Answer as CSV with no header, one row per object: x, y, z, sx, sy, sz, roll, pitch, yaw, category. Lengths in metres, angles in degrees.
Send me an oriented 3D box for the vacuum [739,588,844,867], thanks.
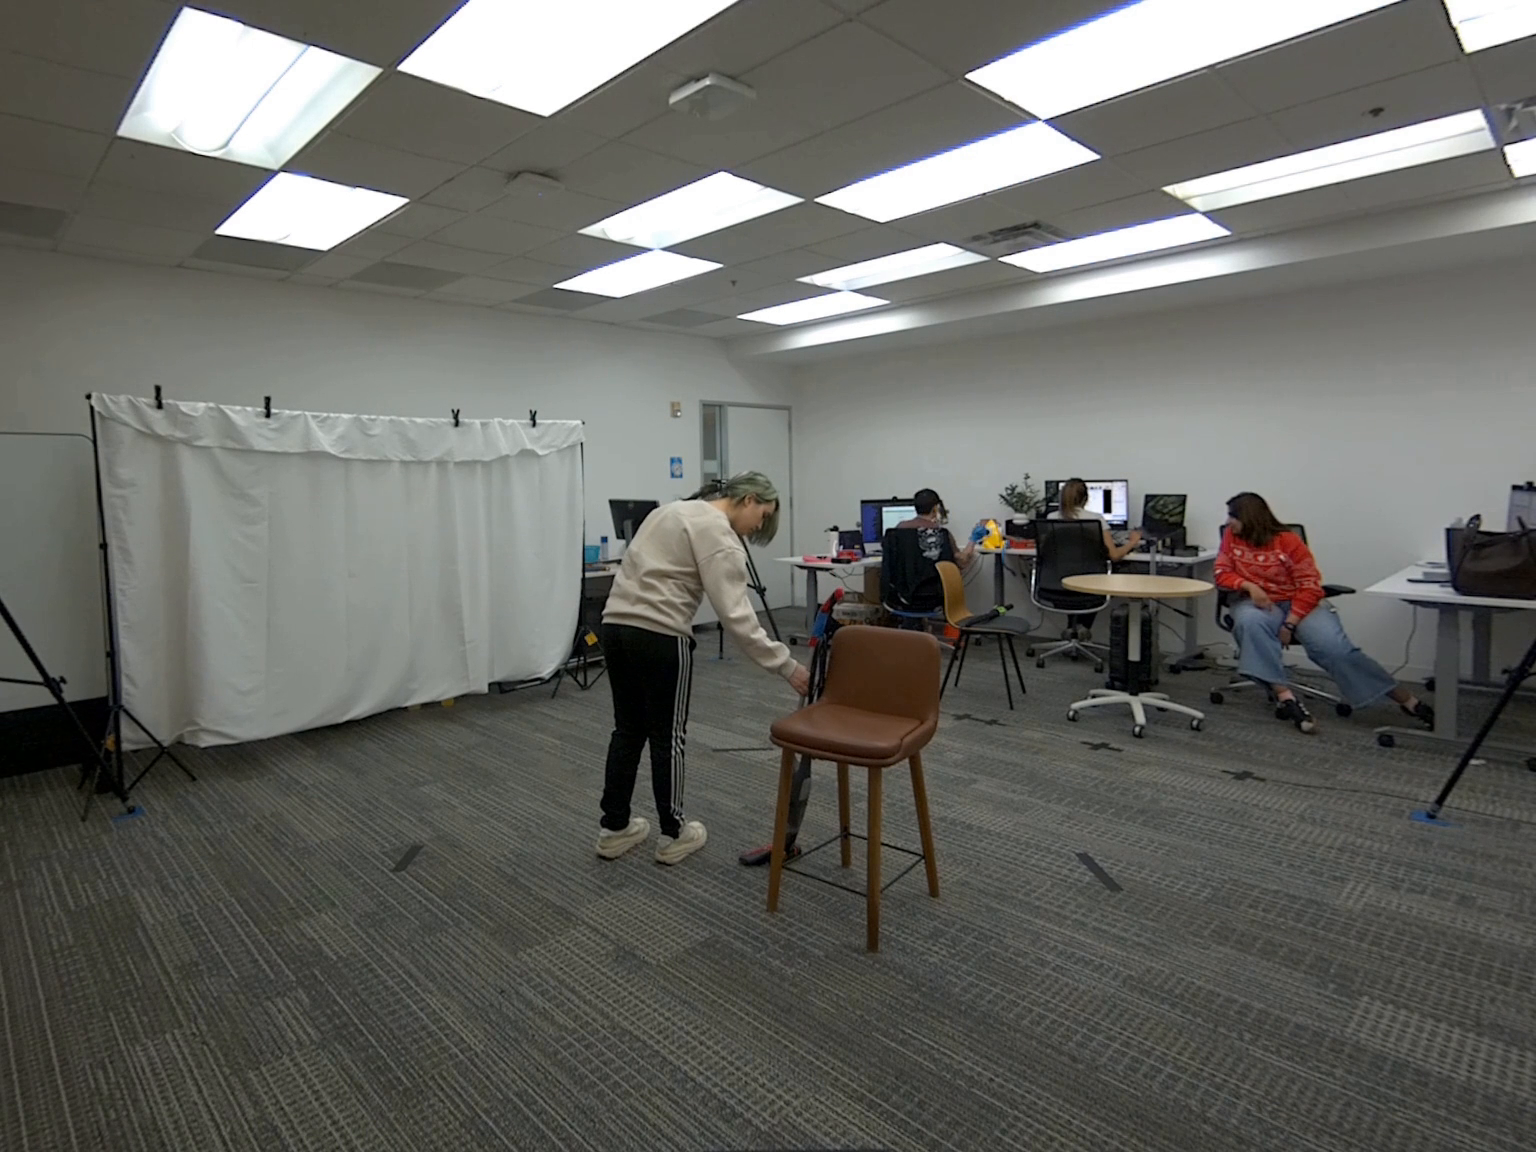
0.127,0.550,3.029,0.245,1.039,0.149,0,19,-43,vacuum
